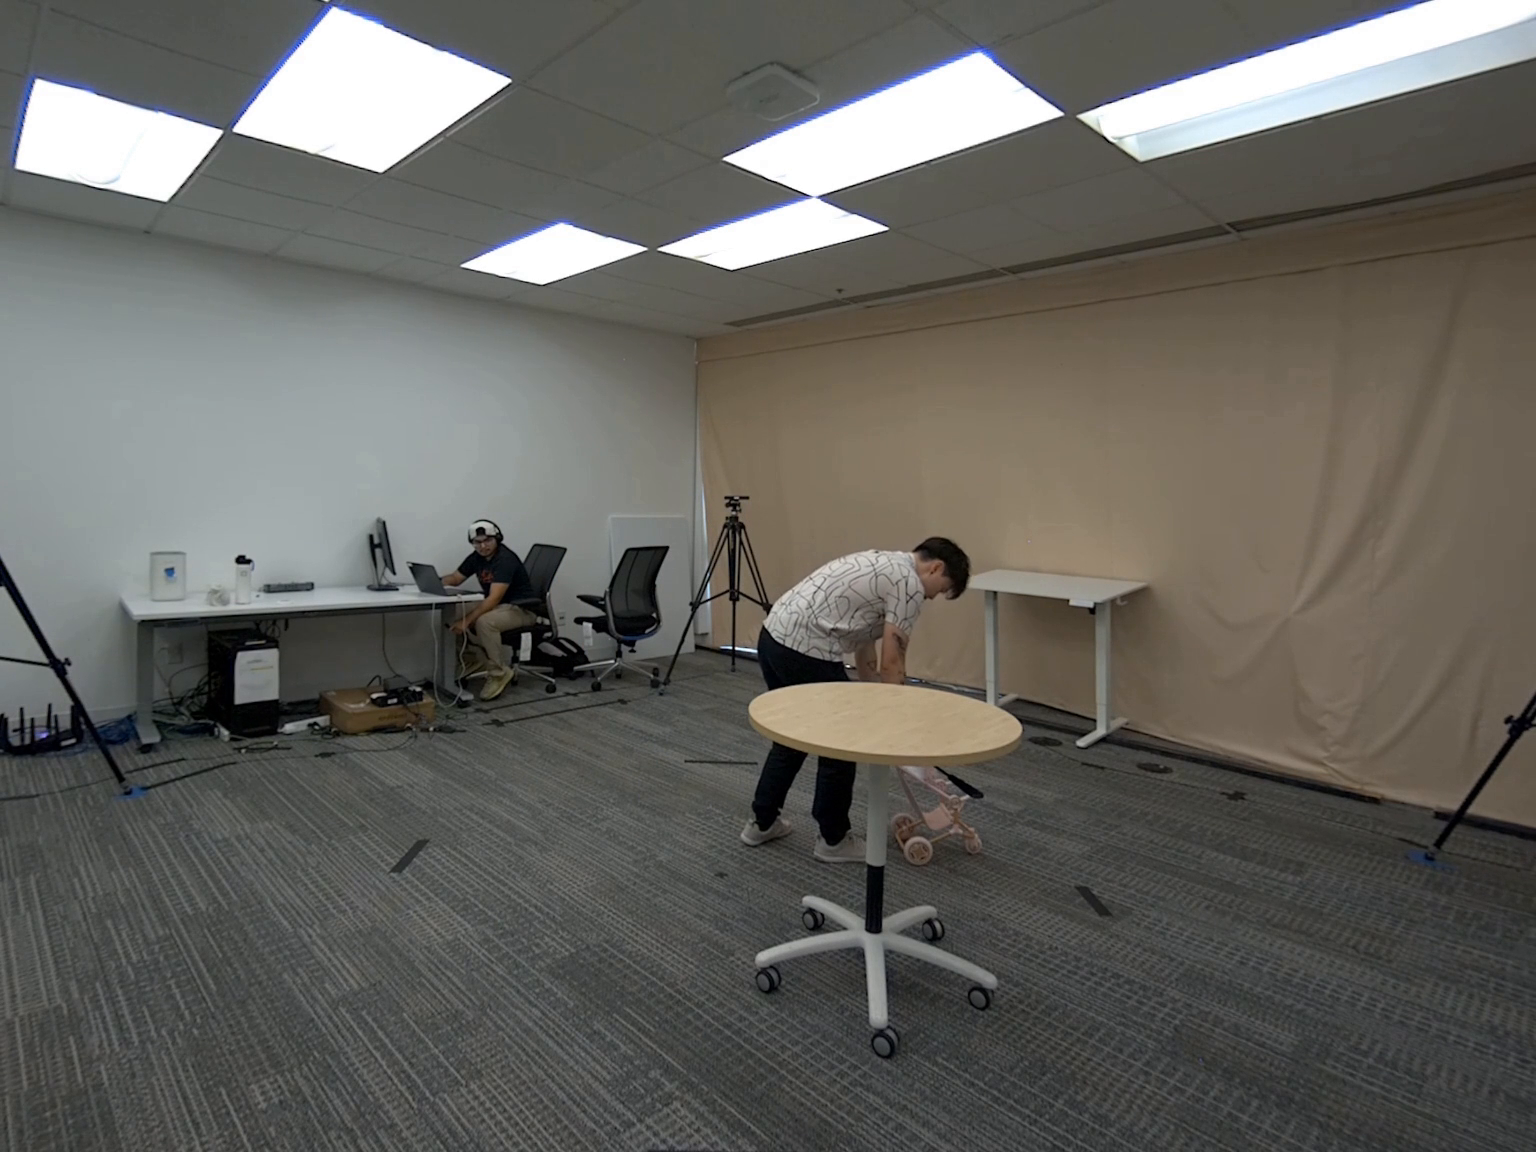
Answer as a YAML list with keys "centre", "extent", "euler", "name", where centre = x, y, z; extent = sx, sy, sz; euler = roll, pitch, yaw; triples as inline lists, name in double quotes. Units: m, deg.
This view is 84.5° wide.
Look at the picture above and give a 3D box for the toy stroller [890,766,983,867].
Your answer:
- centre: [0.630, 0.878, 3.349]
  extent: [0.342, 0.534, 0.281]
  euler: [-14, 3, 3]
  name: "toy stroller"
